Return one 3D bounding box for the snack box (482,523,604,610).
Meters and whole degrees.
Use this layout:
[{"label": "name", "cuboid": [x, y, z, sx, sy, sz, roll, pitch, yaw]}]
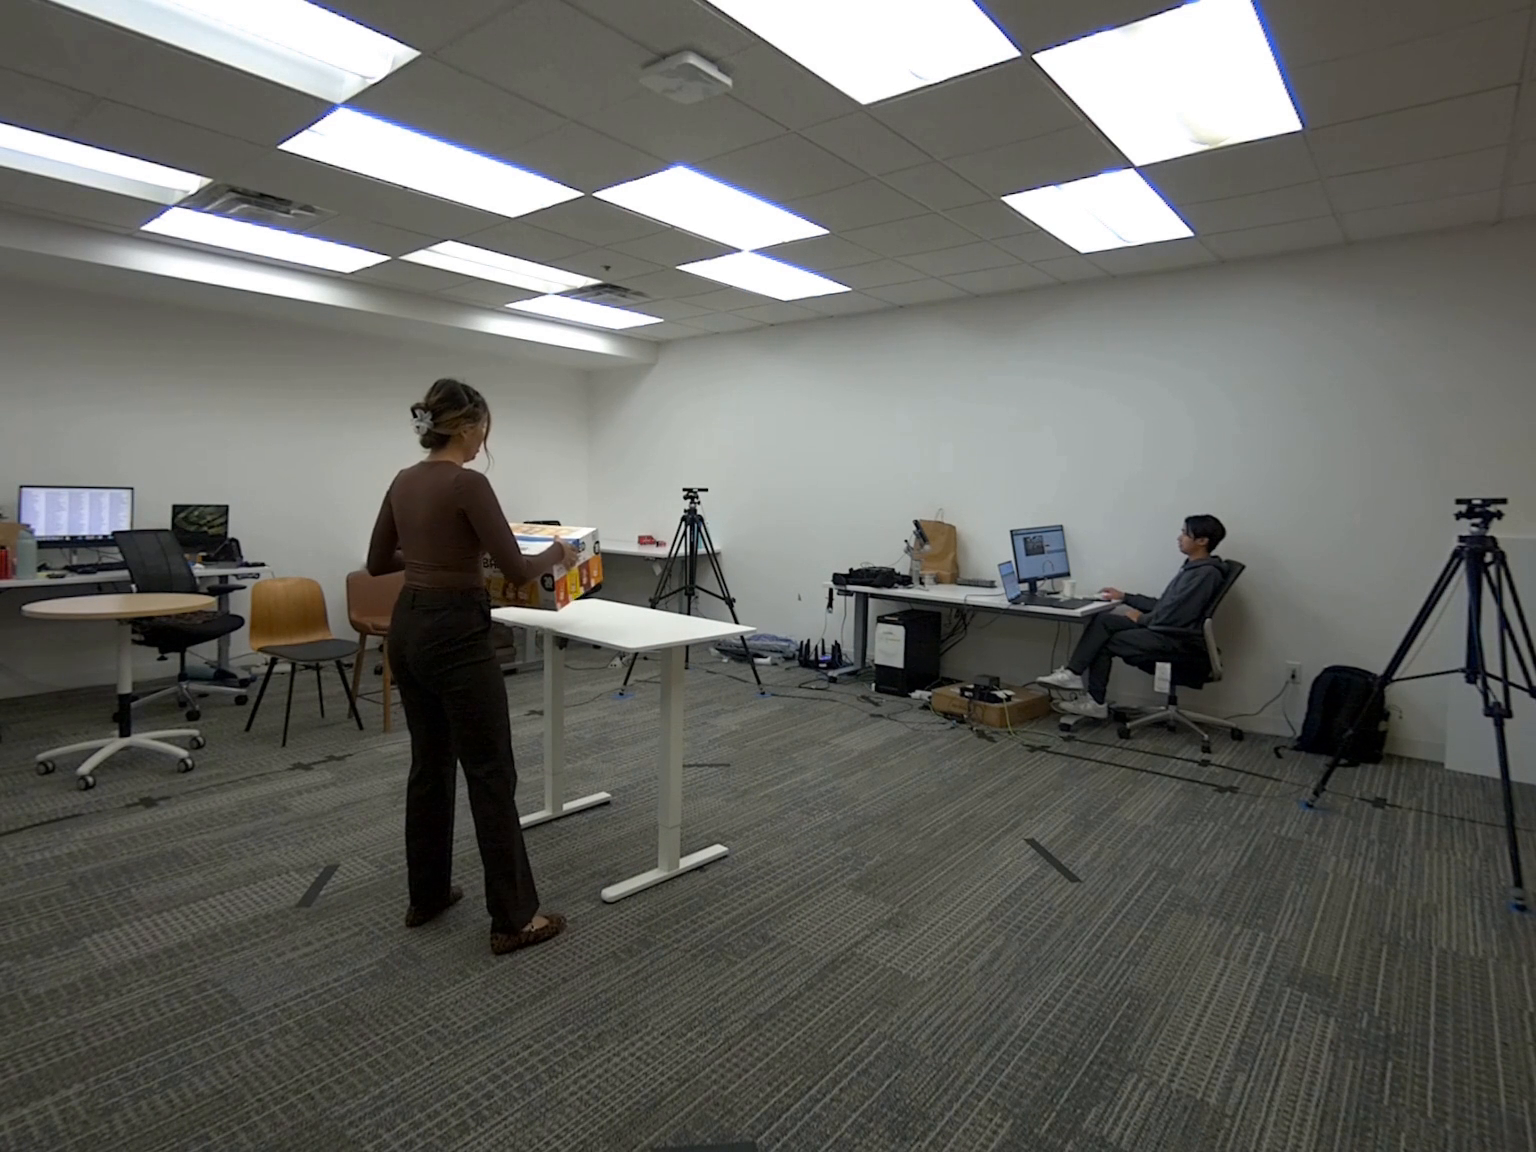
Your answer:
[{"label": "snack box", "cuboid": [-0.874, -0.040, 3.054, 0.413, 0.202, 0.339, 4, 19, 17]}]
